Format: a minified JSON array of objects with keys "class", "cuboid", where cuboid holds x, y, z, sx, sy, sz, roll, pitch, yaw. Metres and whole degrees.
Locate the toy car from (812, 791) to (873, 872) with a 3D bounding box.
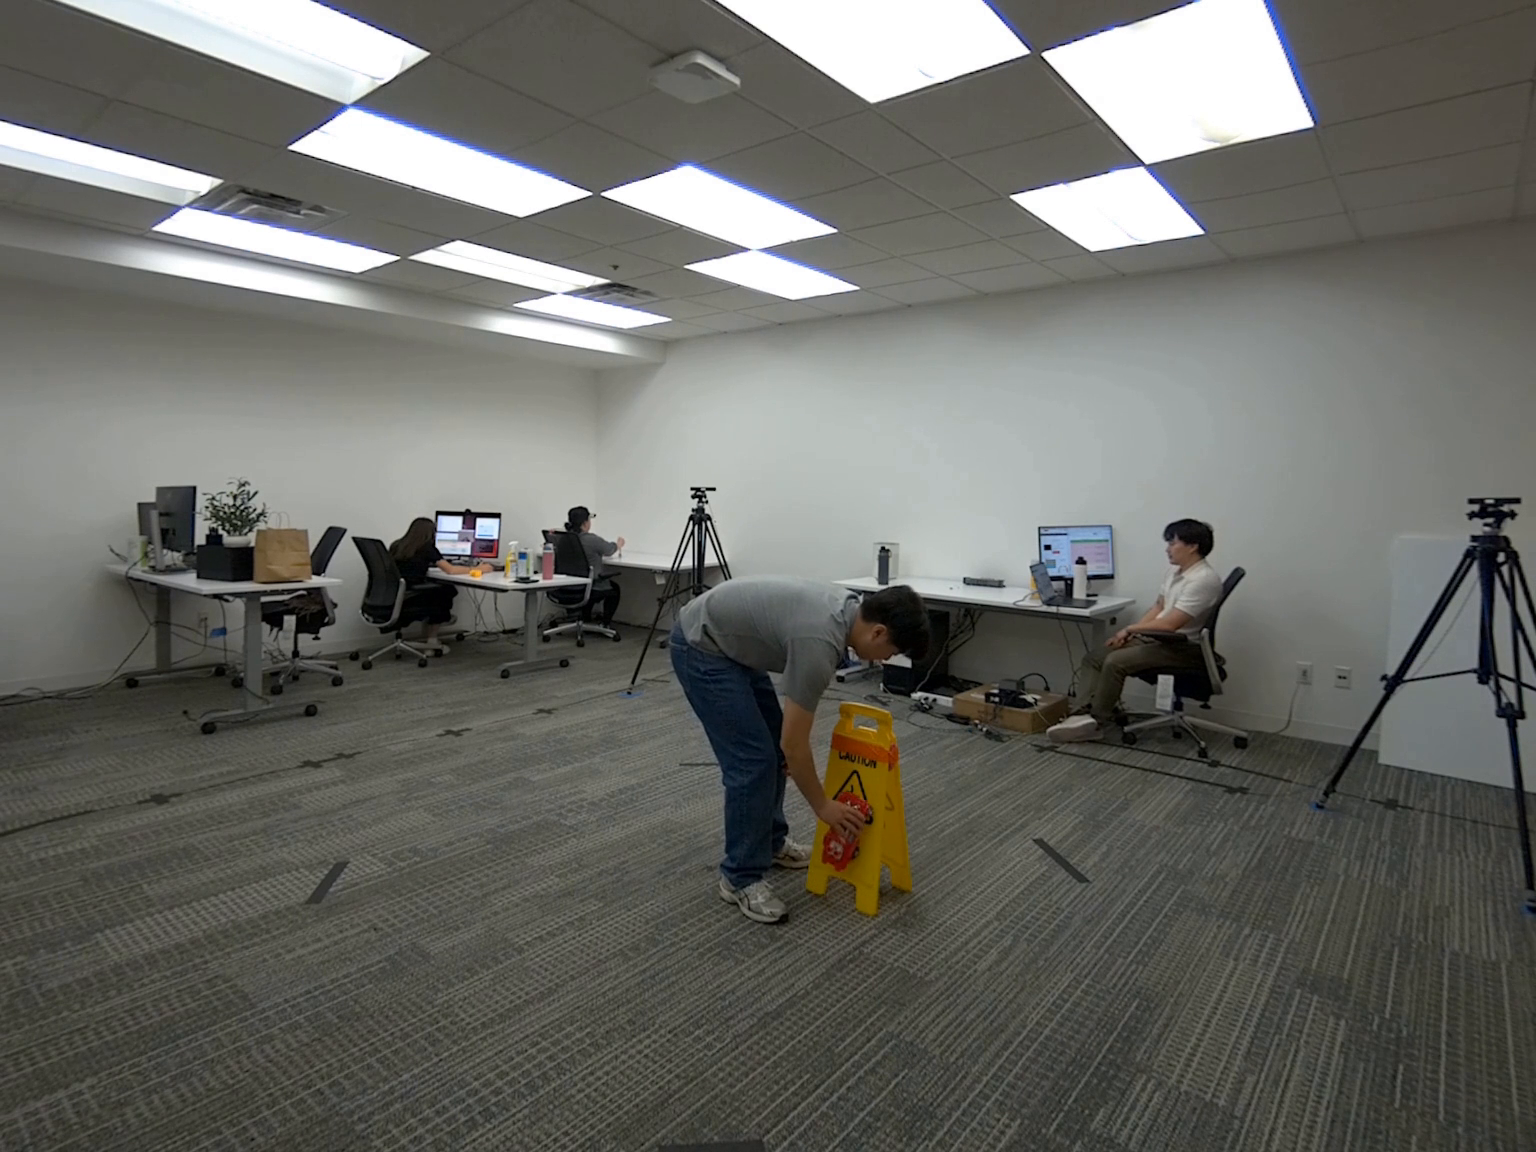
[{"class":"toy car","cuboid":[0.246,0.868,2.869,0.135,0.256,0.080,19,-12,30]}]
